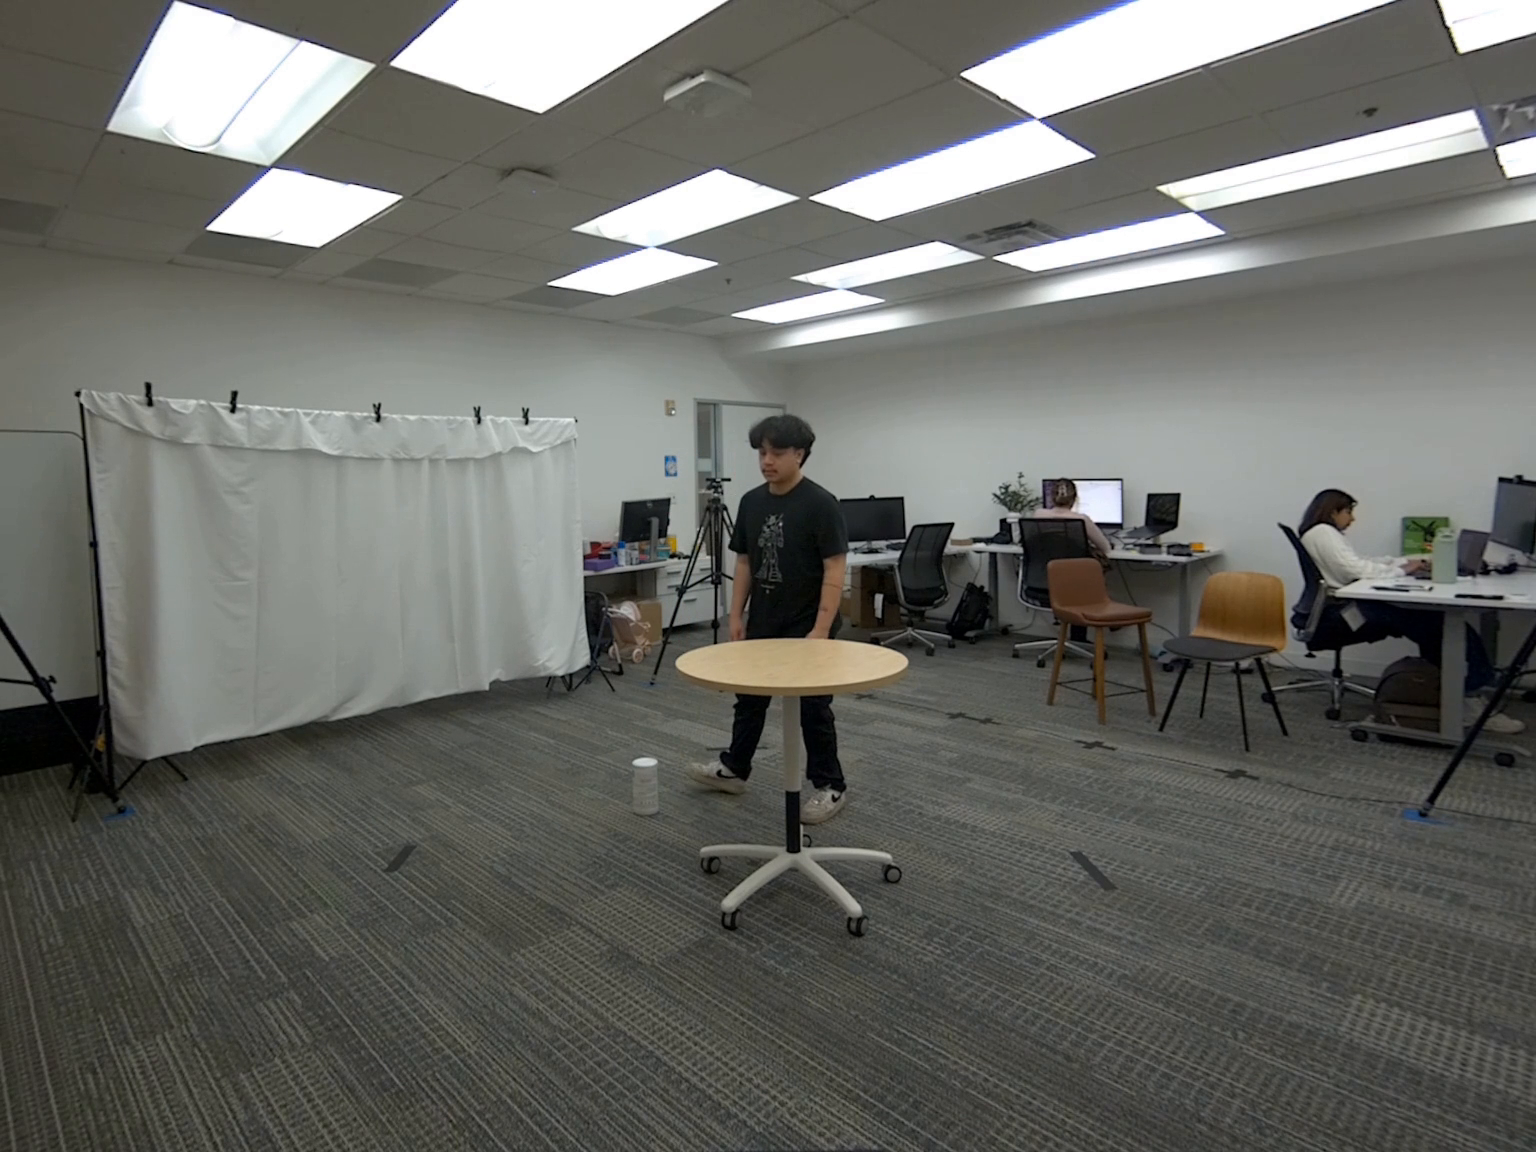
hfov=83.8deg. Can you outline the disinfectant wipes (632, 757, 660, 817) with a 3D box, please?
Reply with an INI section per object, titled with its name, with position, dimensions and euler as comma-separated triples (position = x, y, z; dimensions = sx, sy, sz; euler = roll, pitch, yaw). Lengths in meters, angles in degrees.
[disinfectant wipes]
position = -0.522, 0.882, 3.599
dimensions = 0.118, 0.216, 0.118
euler = -1, 4, -2
